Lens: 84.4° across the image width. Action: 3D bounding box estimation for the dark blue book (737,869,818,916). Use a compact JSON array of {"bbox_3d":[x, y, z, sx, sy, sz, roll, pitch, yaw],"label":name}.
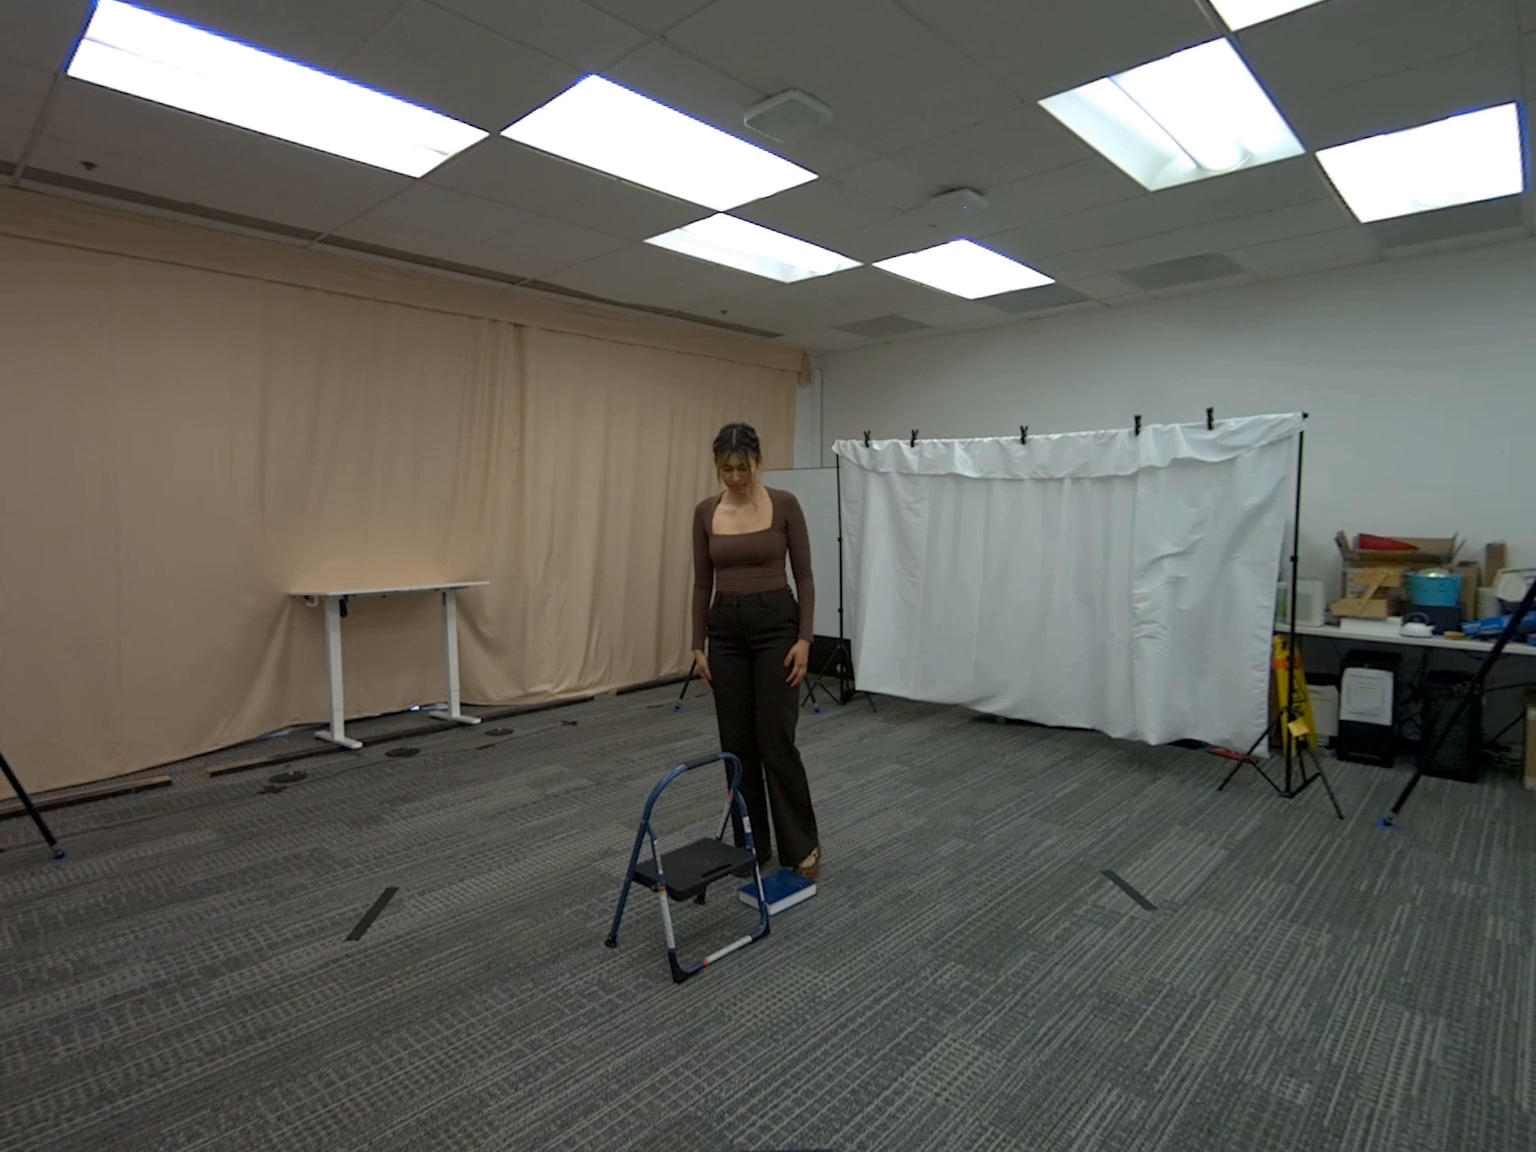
[{"bbox_3d":[0.031,1.112,2.988,0.238,0.045,0.169,-5,7,-44],"label":"dark blue book"}]
